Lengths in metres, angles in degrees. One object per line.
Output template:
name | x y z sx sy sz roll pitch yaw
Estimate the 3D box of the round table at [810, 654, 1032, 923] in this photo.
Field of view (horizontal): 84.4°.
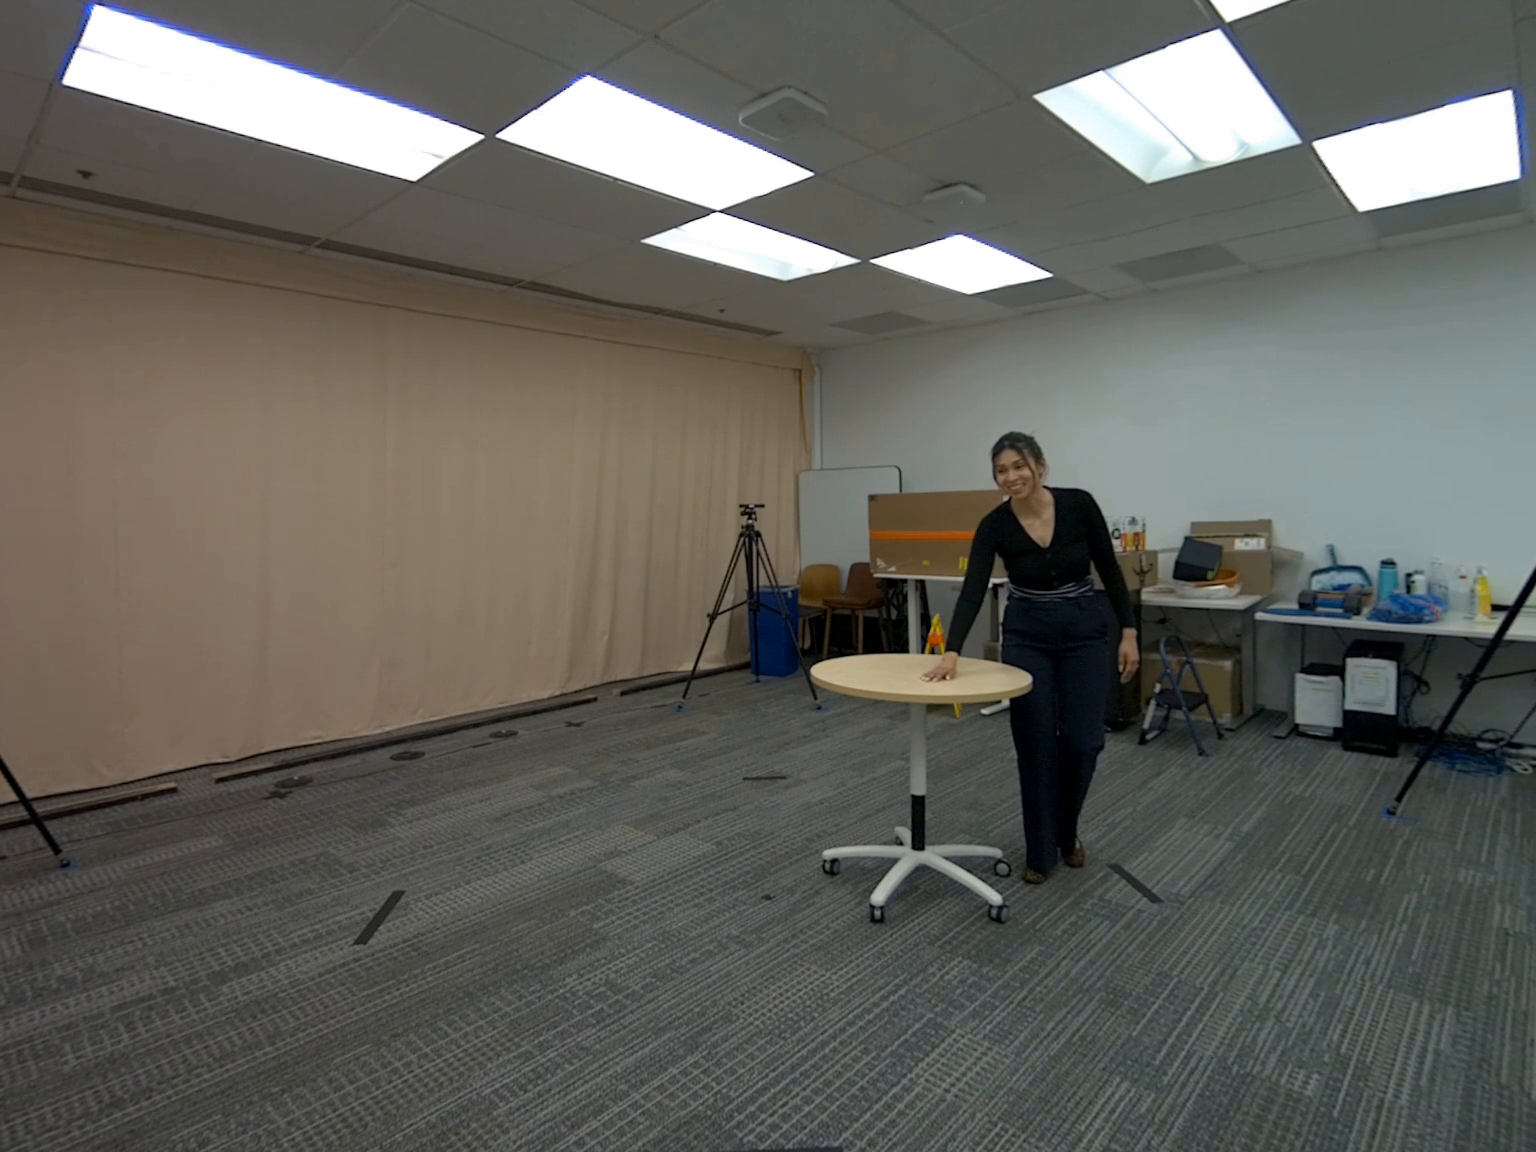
round table | 0.543 0.738 3.025 0.763 0.792 0.766 -1 4 -2
